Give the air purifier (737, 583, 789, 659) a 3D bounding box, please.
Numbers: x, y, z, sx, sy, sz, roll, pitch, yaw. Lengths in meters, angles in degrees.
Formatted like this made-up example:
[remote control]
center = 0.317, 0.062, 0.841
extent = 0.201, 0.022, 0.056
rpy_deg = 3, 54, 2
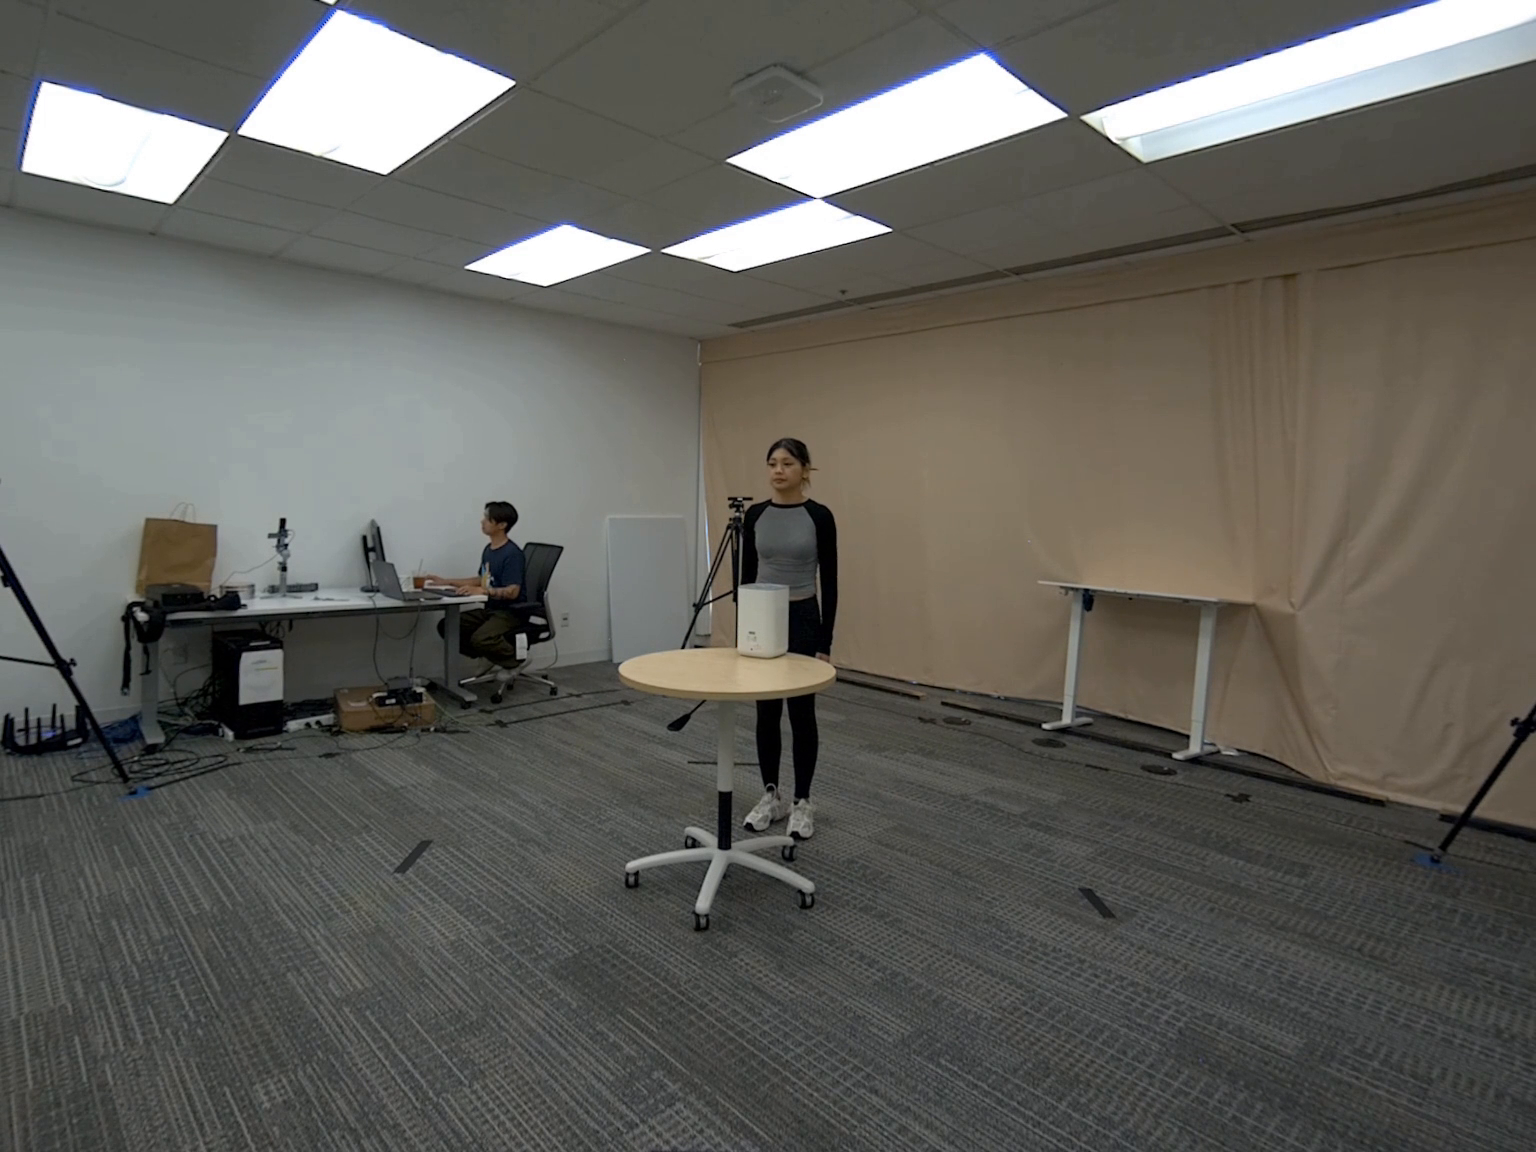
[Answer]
[air purifier]
center = -0.036, 0.164, 3.227
extent = 0.175, 0.264, 0.168
rpy_deg = 3, 5, 27
